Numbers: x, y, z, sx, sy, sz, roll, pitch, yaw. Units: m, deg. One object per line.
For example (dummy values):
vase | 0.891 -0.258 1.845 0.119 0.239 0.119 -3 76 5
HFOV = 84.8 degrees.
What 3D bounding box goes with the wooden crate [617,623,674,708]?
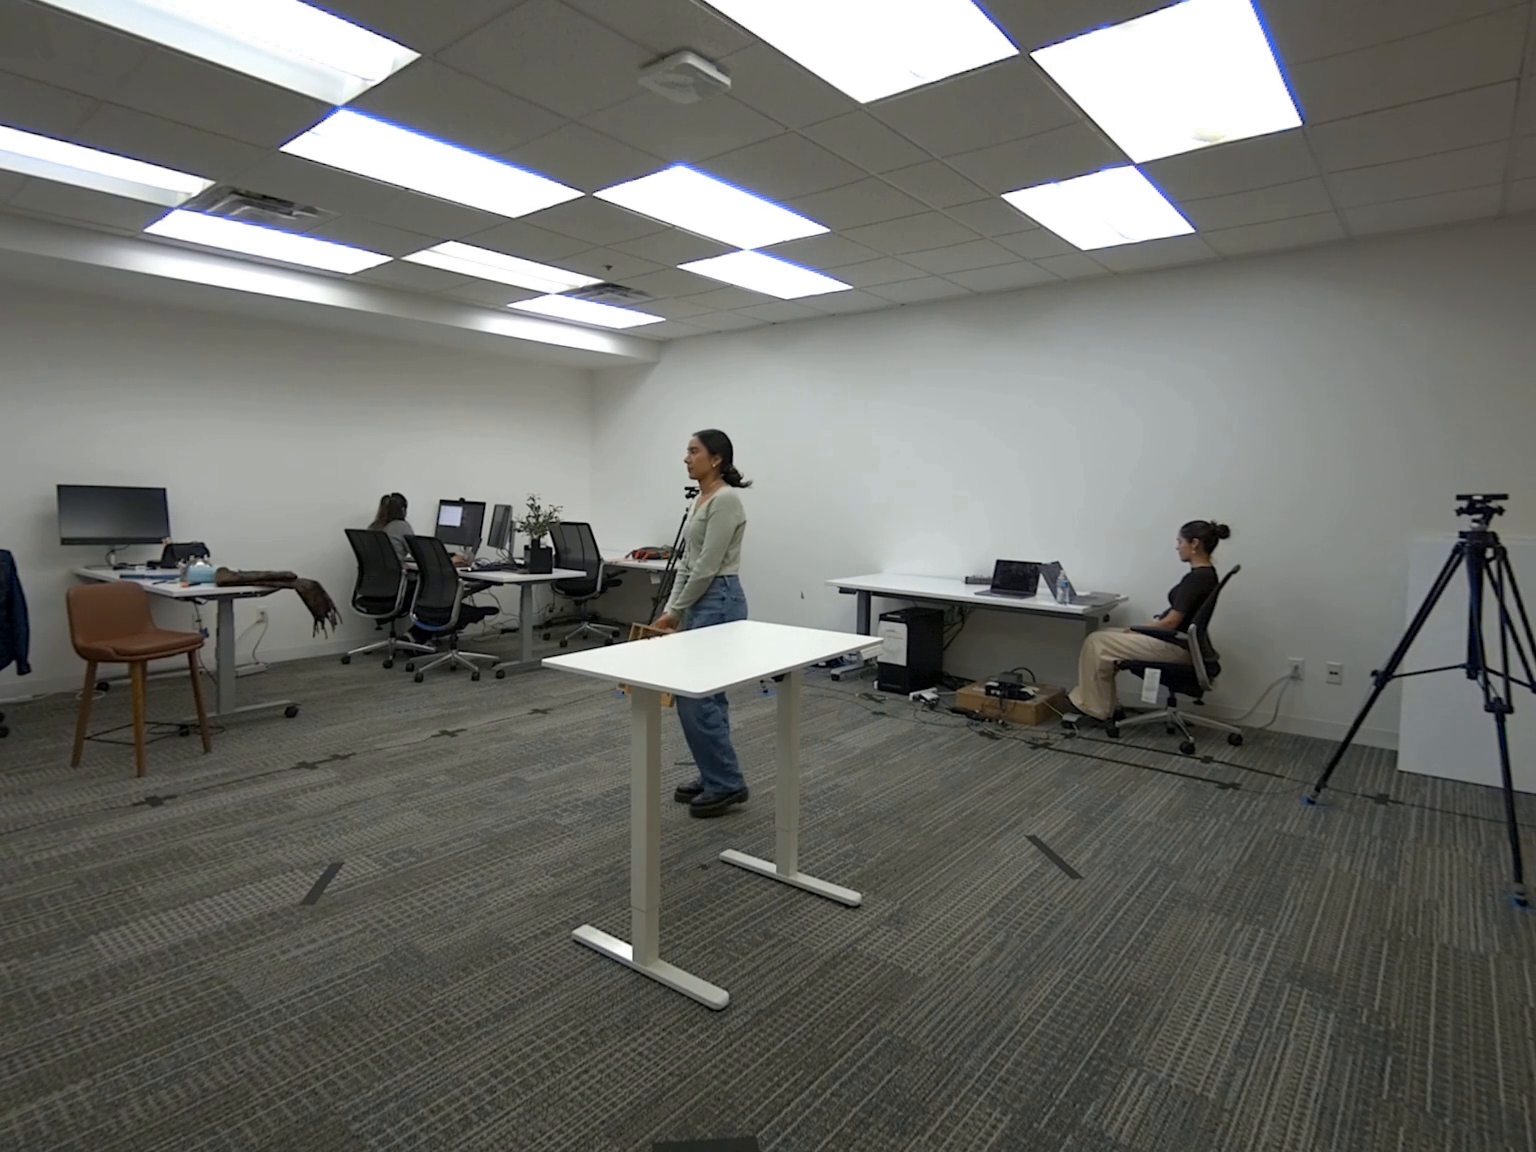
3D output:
wooden crate | -0.513 0.370 3.664 0.306 0.326 0.268 12 -6 10
